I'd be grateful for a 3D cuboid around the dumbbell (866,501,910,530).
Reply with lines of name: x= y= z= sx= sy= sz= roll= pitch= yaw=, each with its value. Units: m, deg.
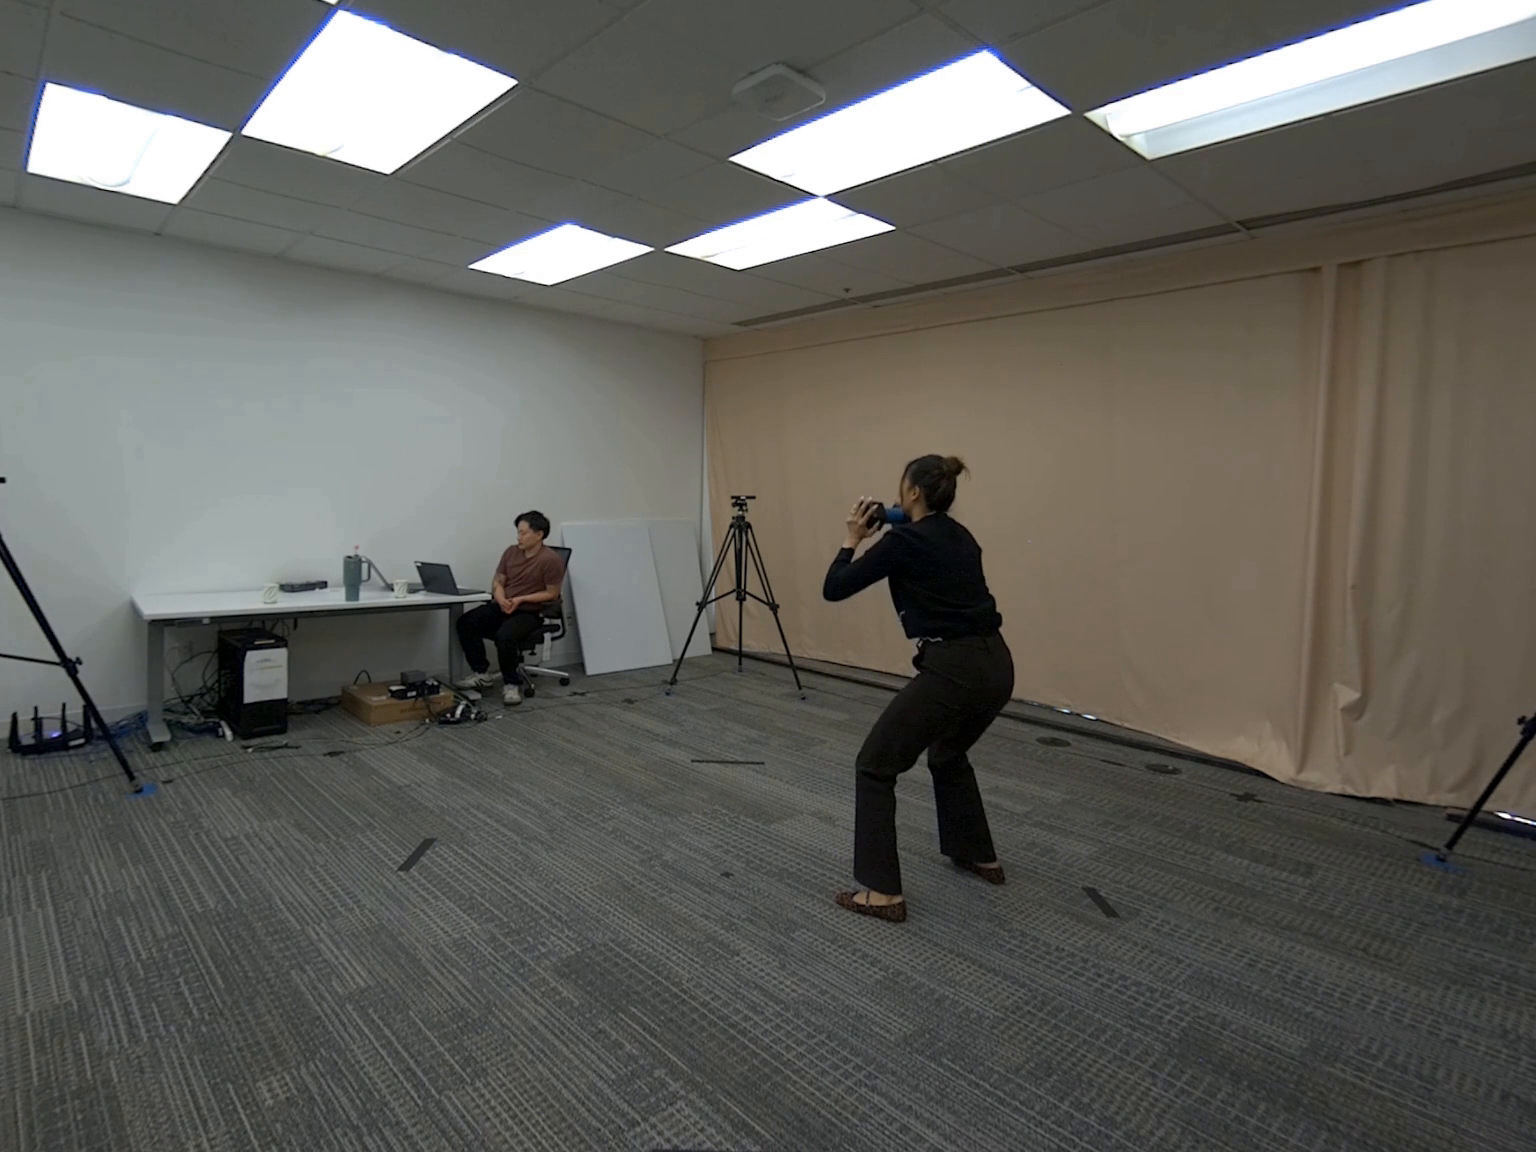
dumbbell: x=0.452 y=-0.218 z=3.156 sx=0.287 sy=0.122 sz=0.112 roll=-4 pitch=43 yaw=-42
